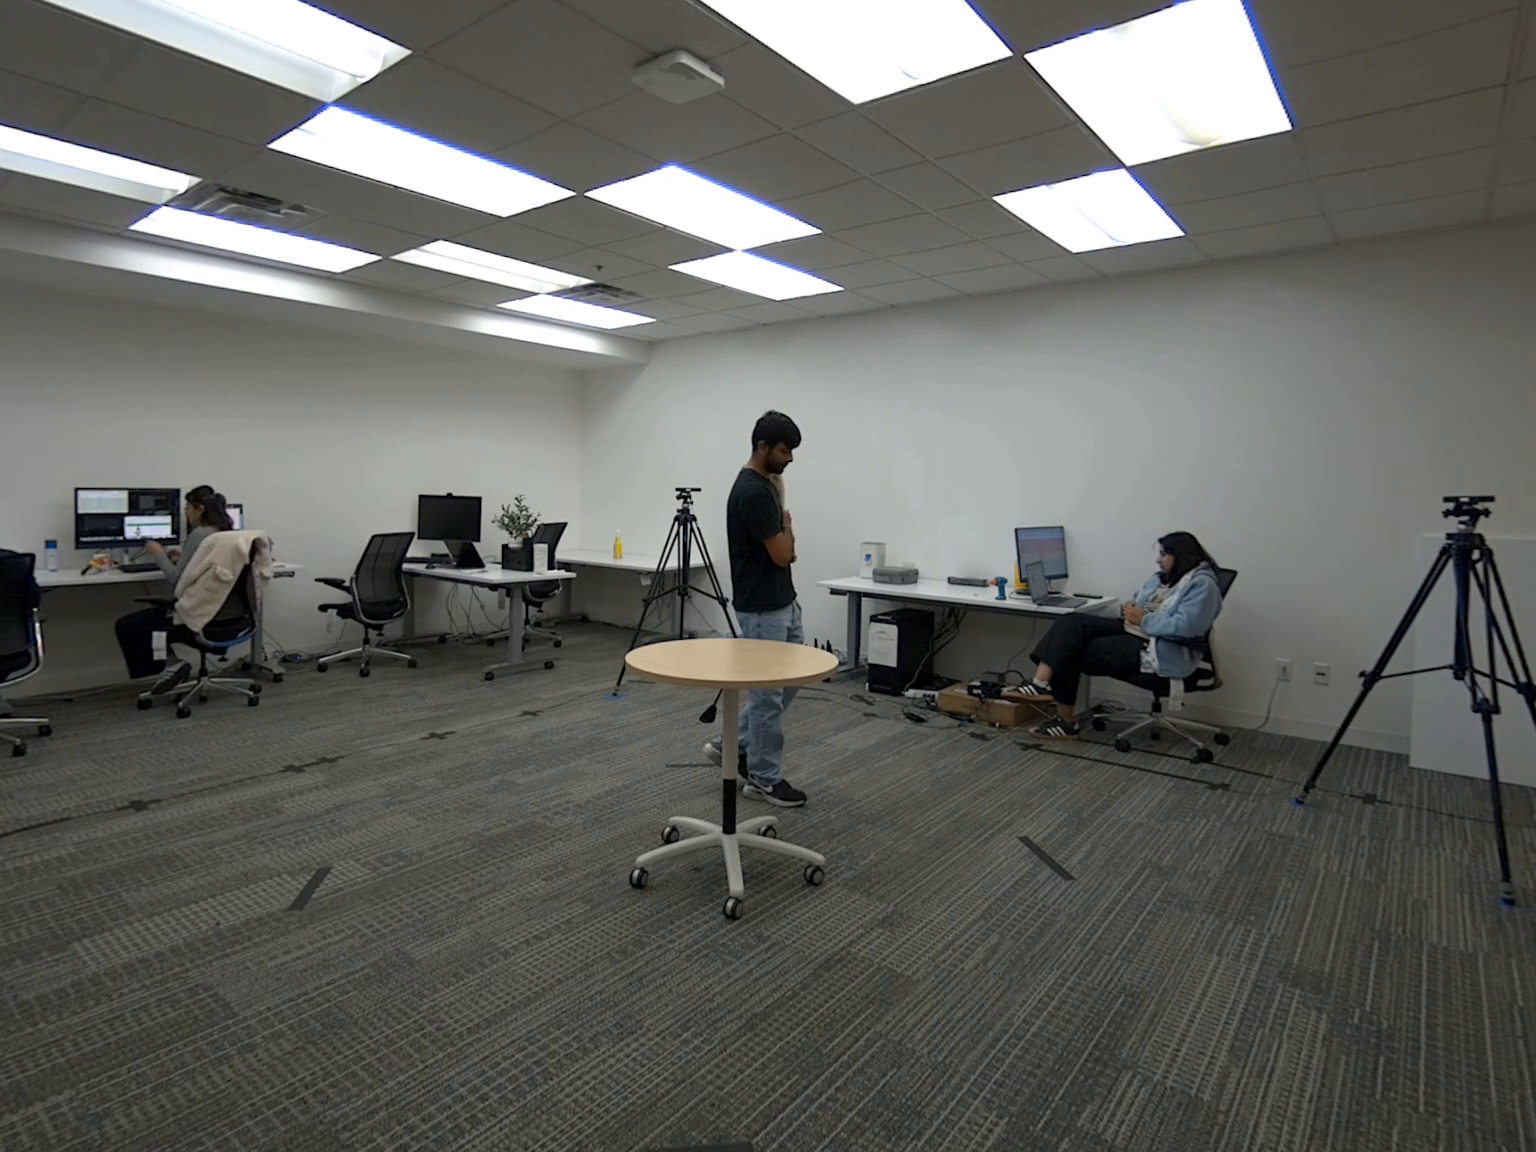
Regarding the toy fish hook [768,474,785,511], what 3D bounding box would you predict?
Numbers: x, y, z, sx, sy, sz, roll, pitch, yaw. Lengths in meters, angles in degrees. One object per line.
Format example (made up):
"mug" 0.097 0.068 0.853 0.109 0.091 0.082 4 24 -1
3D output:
"toy fish hook" -0.006 -0.288 3.925 0.228 0.505 0.047 -15 3 23
